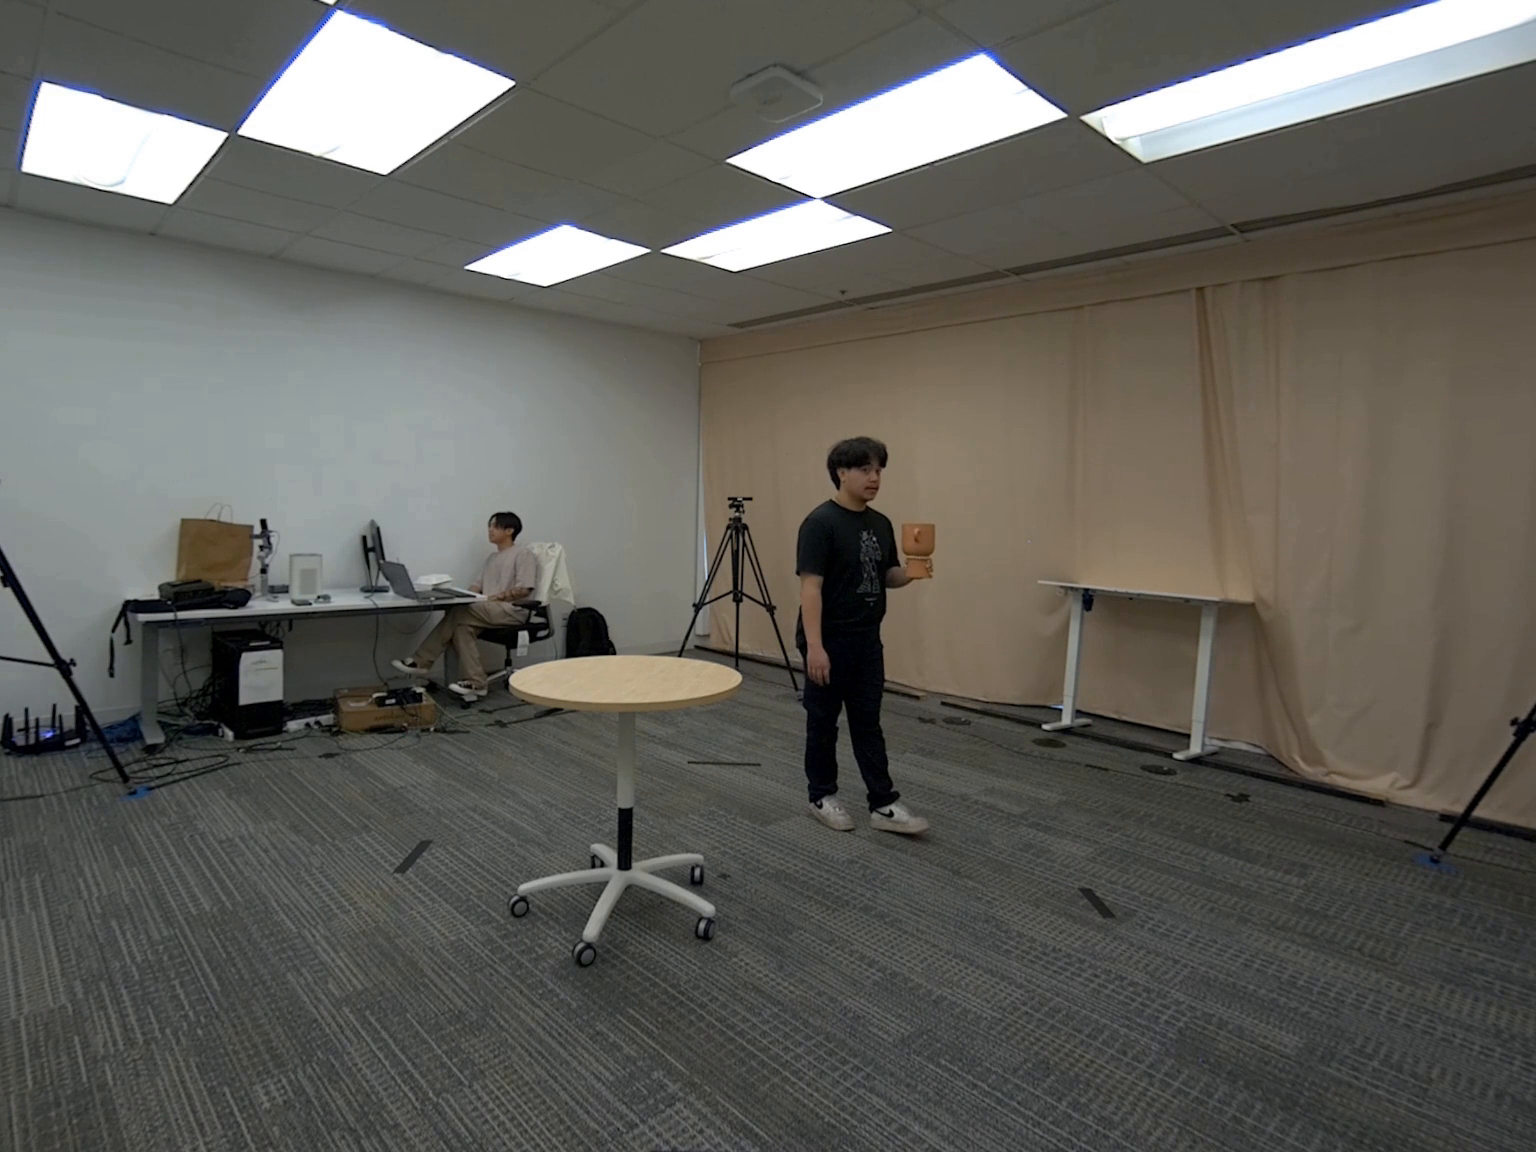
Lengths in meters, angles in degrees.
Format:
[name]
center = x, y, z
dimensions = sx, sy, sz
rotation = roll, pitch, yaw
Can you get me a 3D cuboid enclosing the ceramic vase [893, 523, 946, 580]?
[ceramic vase]
center = 0.611, -0.103, 3.443
dimensions = 0.155, 0.219, 0.137
rotation = 1, 1, -32
